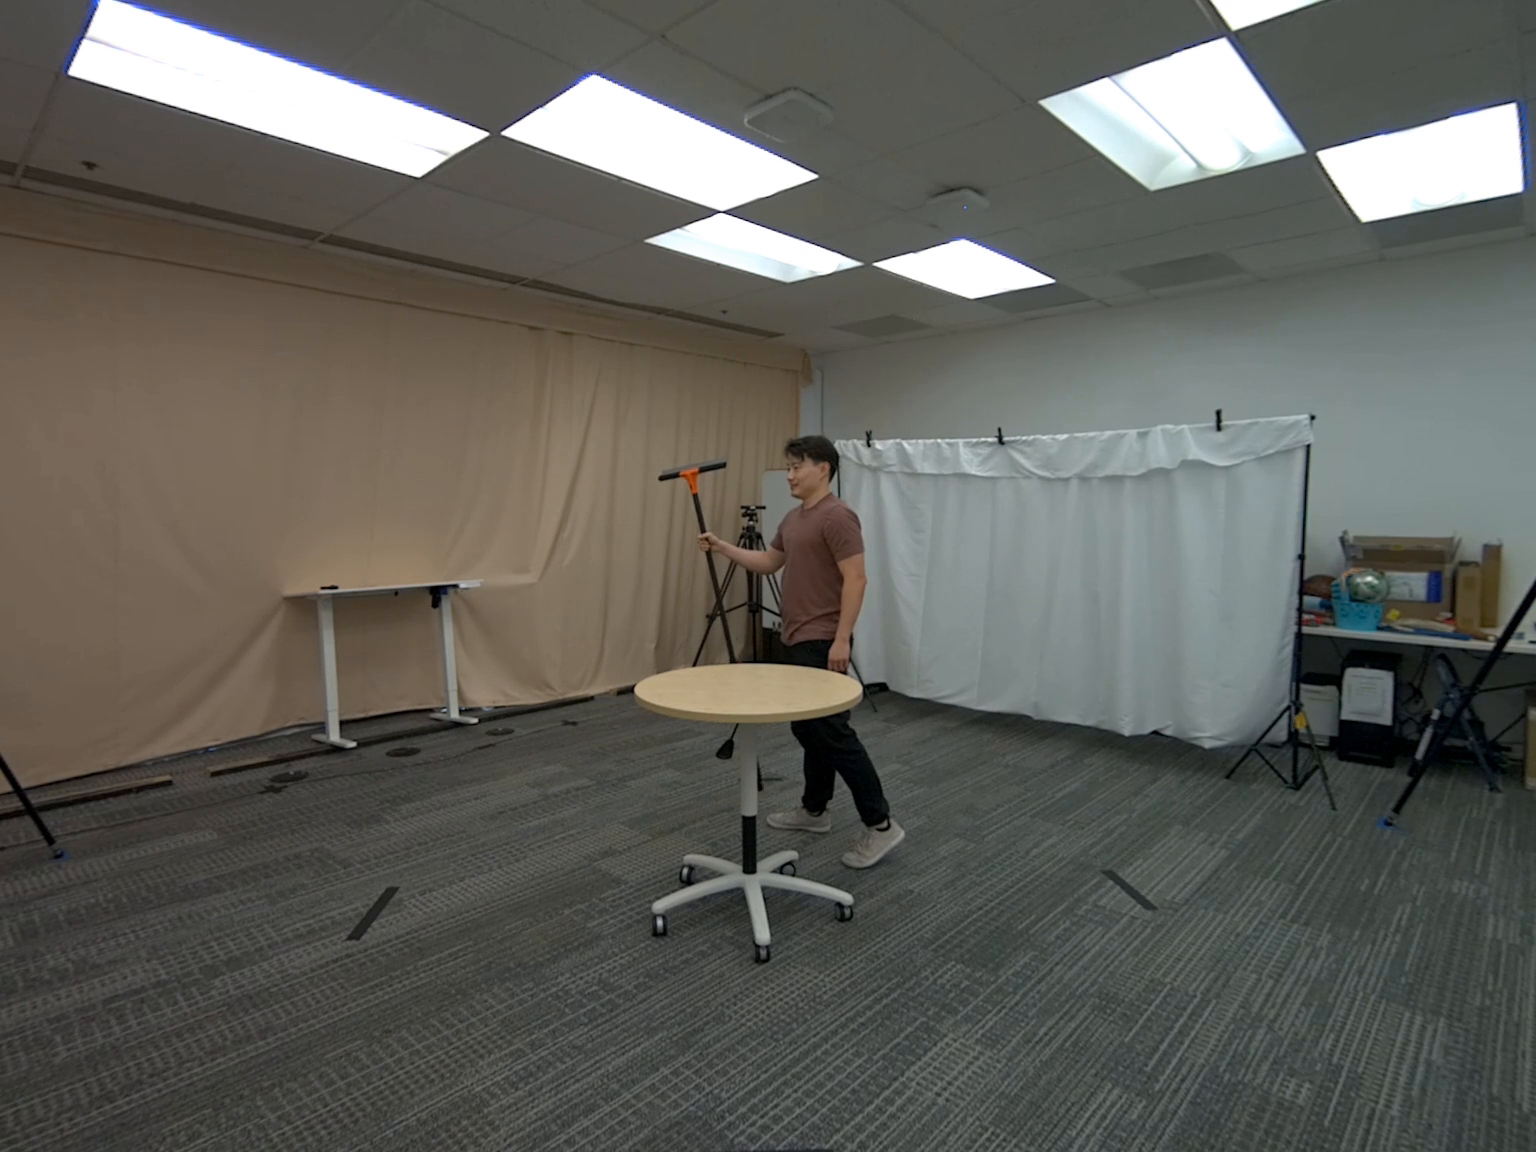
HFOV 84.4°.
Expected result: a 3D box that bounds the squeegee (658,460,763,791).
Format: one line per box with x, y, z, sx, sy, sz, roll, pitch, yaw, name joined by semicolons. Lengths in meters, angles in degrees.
-0.191;0.268;3.788;0.051;1.531;0.451;-16;7;-42;squeegee
